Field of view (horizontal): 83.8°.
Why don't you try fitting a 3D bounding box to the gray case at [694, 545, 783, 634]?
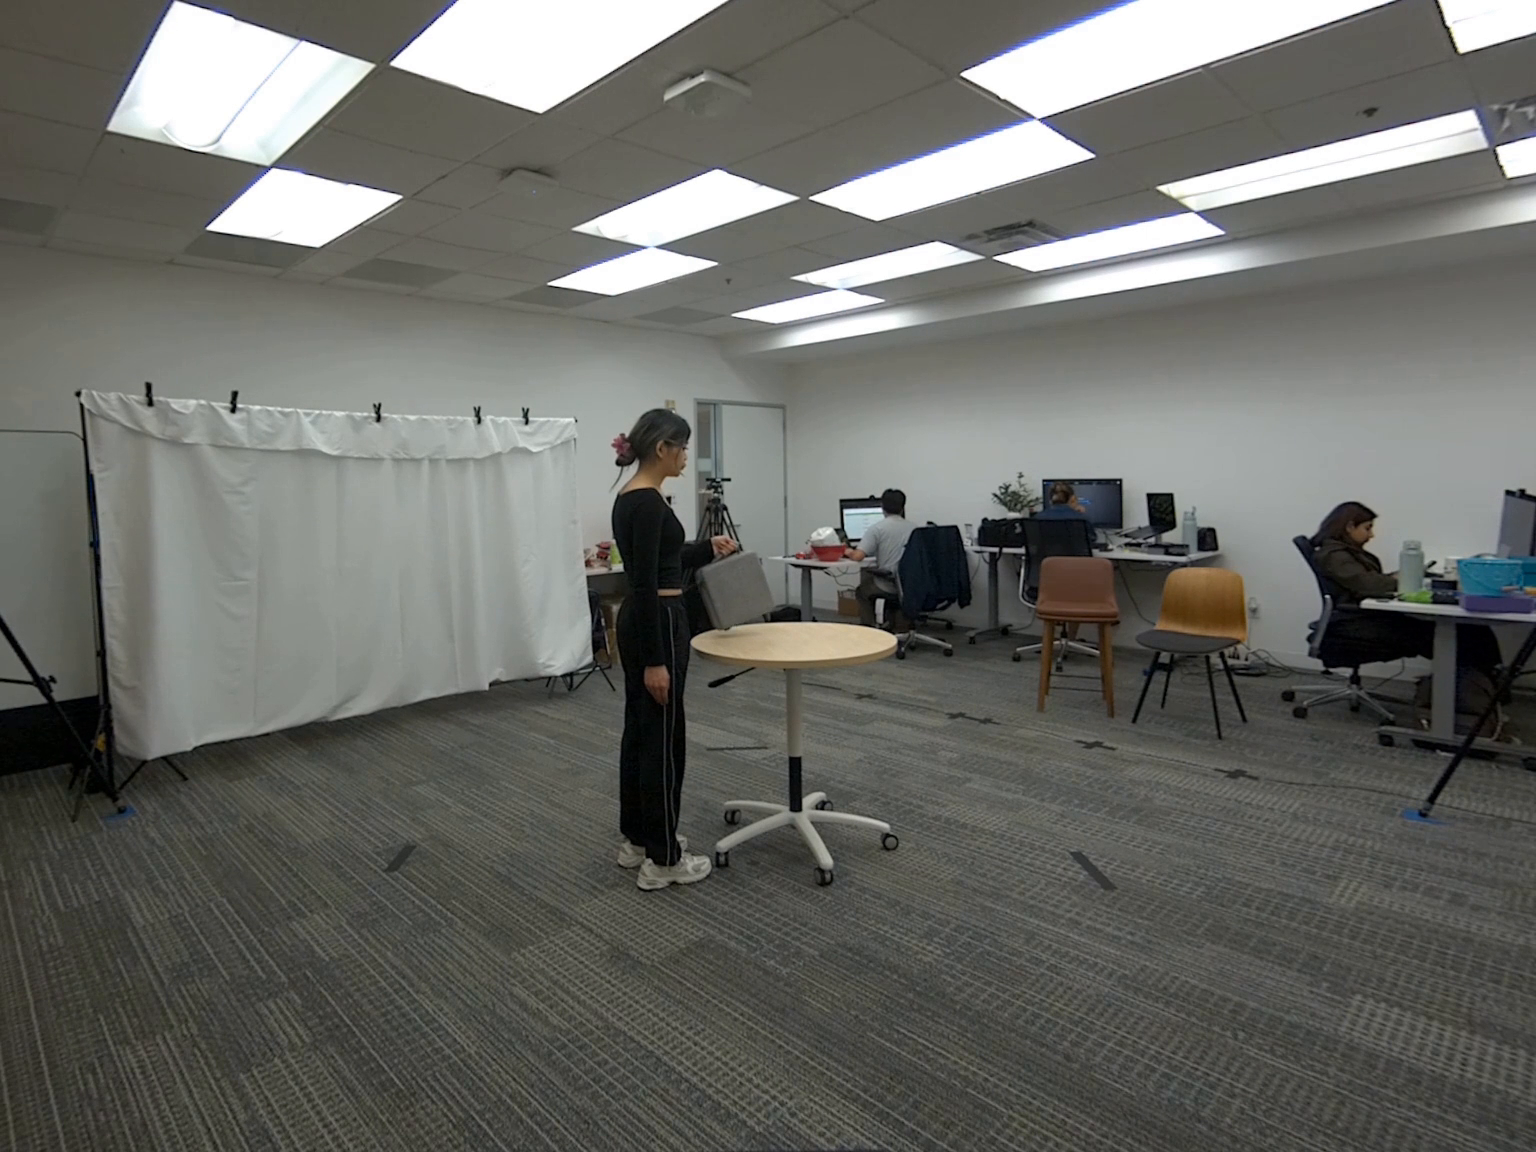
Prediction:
[{"bbox_3d":[-0.121,0.049,3.310,0.254,0.261,0.105,-21,0,-16],"label":"gray case"}]
